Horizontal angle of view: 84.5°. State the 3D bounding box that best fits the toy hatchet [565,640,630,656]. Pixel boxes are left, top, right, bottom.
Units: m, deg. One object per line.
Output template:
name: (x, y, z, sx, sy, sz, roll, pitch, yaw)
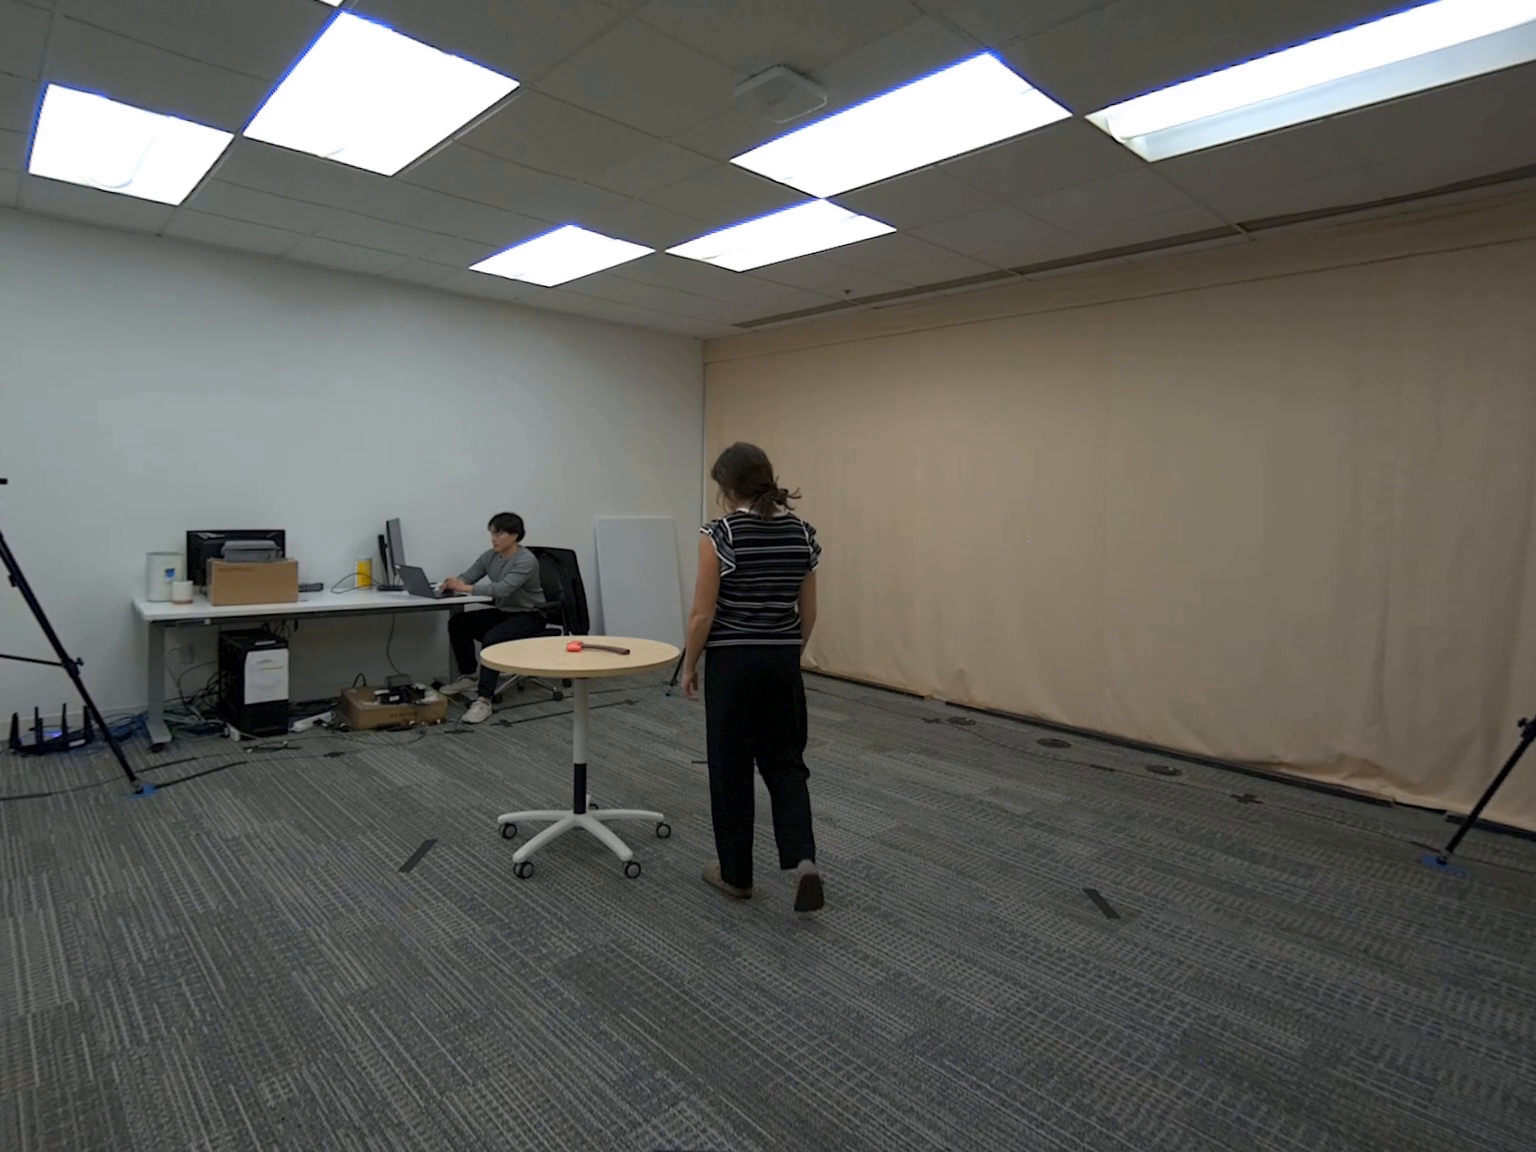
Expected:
toy hatchet: (-0.676, 0.282, 3.266, 0.276, 0.029, 0.128, 6, 7, 33)
